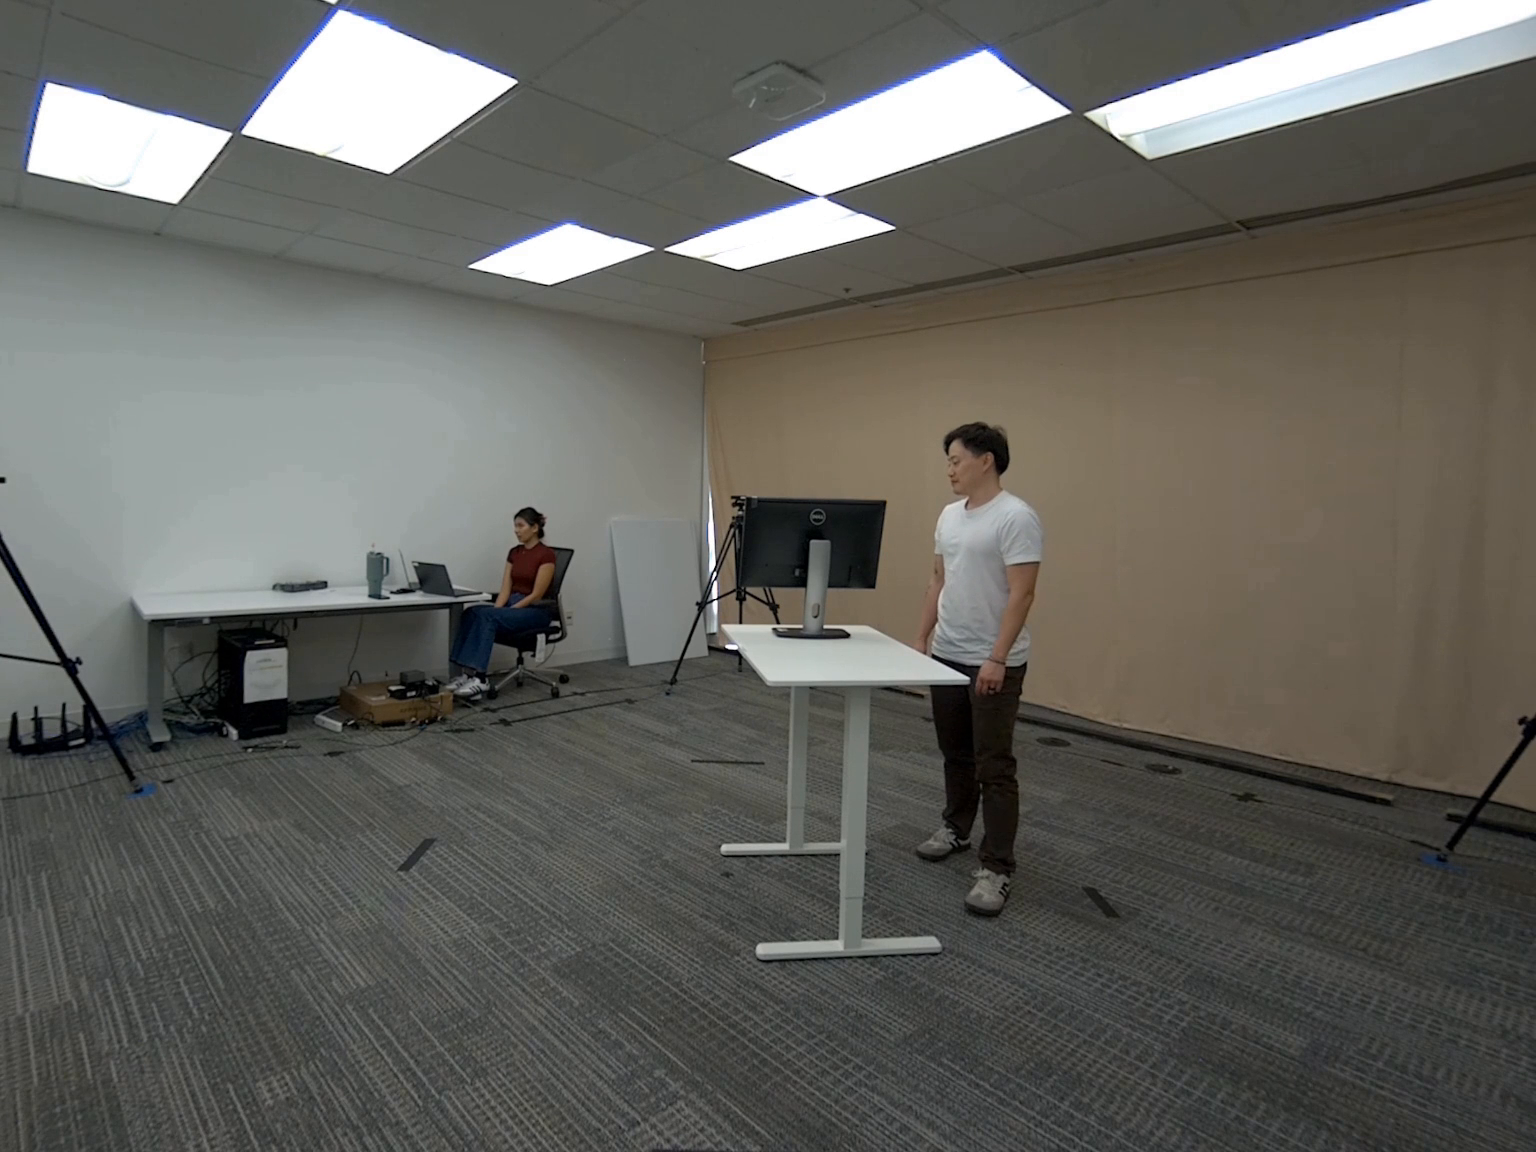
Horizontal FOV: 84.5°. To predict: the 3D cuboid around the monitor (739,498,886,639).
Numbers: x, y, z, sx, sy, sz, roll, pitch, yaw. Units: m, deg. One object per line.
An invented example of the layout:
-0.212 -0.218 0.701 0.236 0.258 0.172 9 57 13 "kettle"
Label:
0.183 -0.027 3.118 0.534 0.521 0.189 1 4 -12 "monitor"
